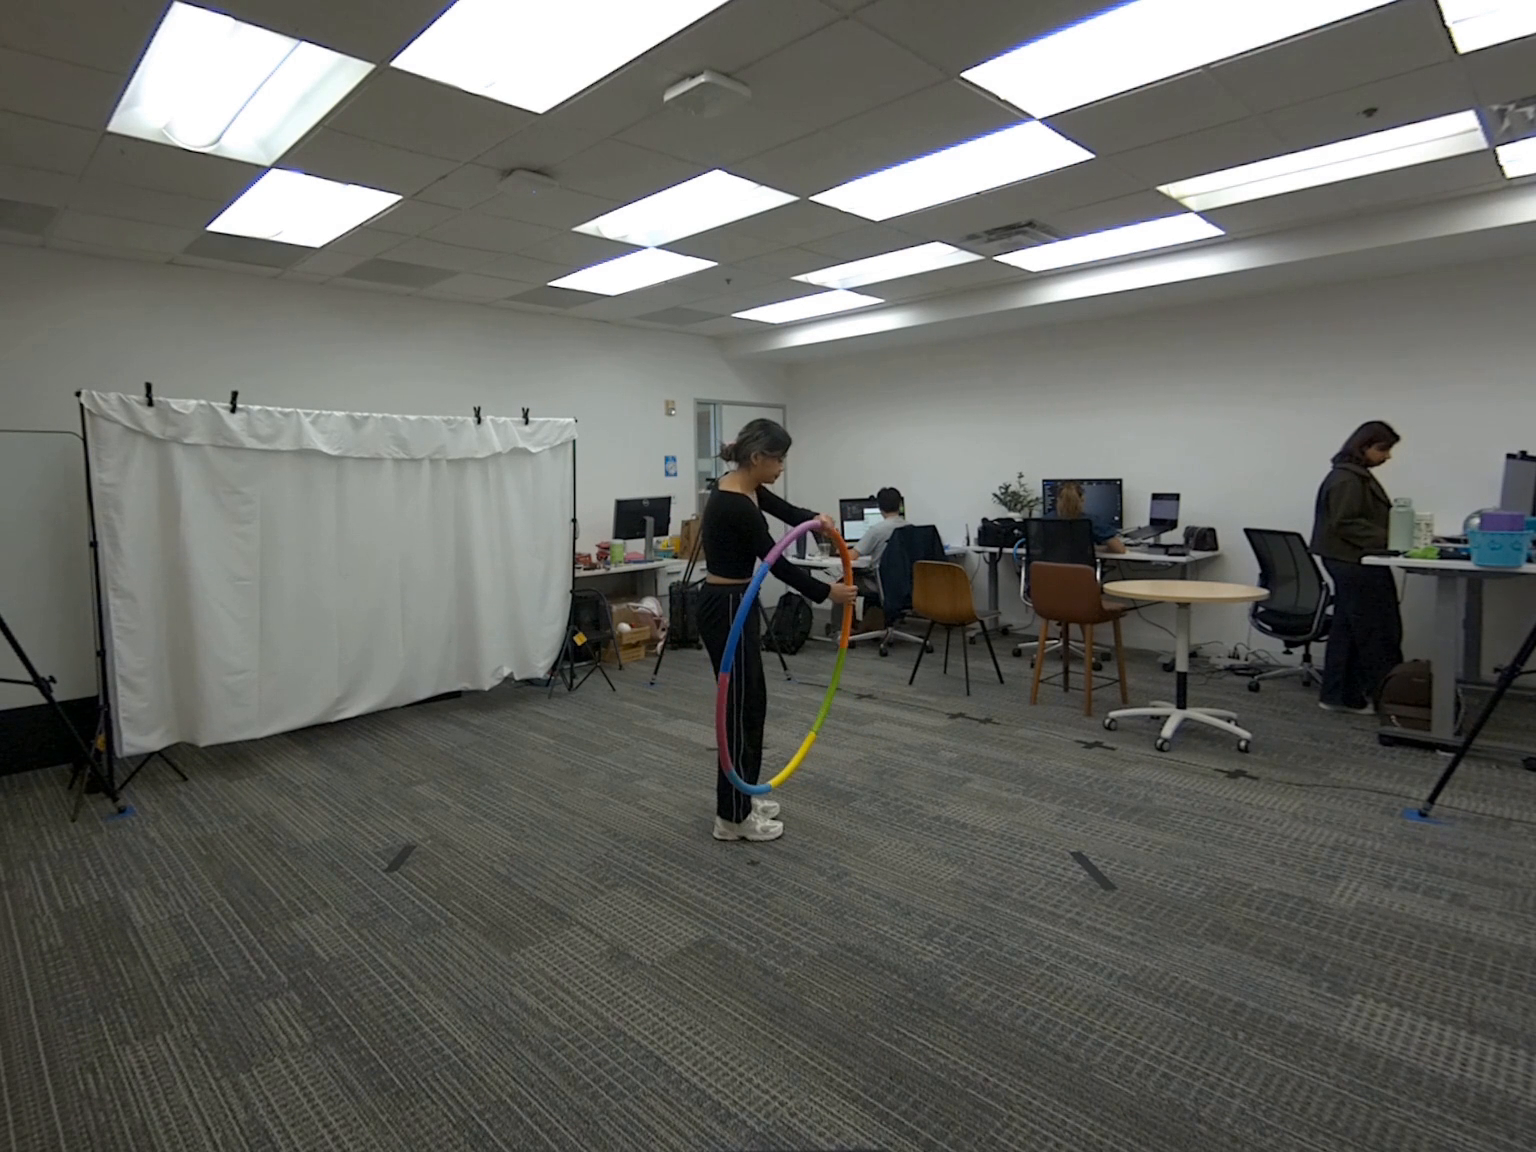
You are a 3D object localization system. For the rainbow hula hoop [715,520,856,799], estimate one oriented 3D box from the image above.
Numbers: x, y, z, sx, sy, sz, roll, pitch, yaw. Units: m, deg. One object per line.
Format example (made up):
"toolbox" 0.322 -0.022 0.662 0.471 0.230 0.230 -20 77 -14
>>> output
"rainbow hula hoop" 0.090 0.286 3.068 0.036 0.972 0.957 13 11 28
